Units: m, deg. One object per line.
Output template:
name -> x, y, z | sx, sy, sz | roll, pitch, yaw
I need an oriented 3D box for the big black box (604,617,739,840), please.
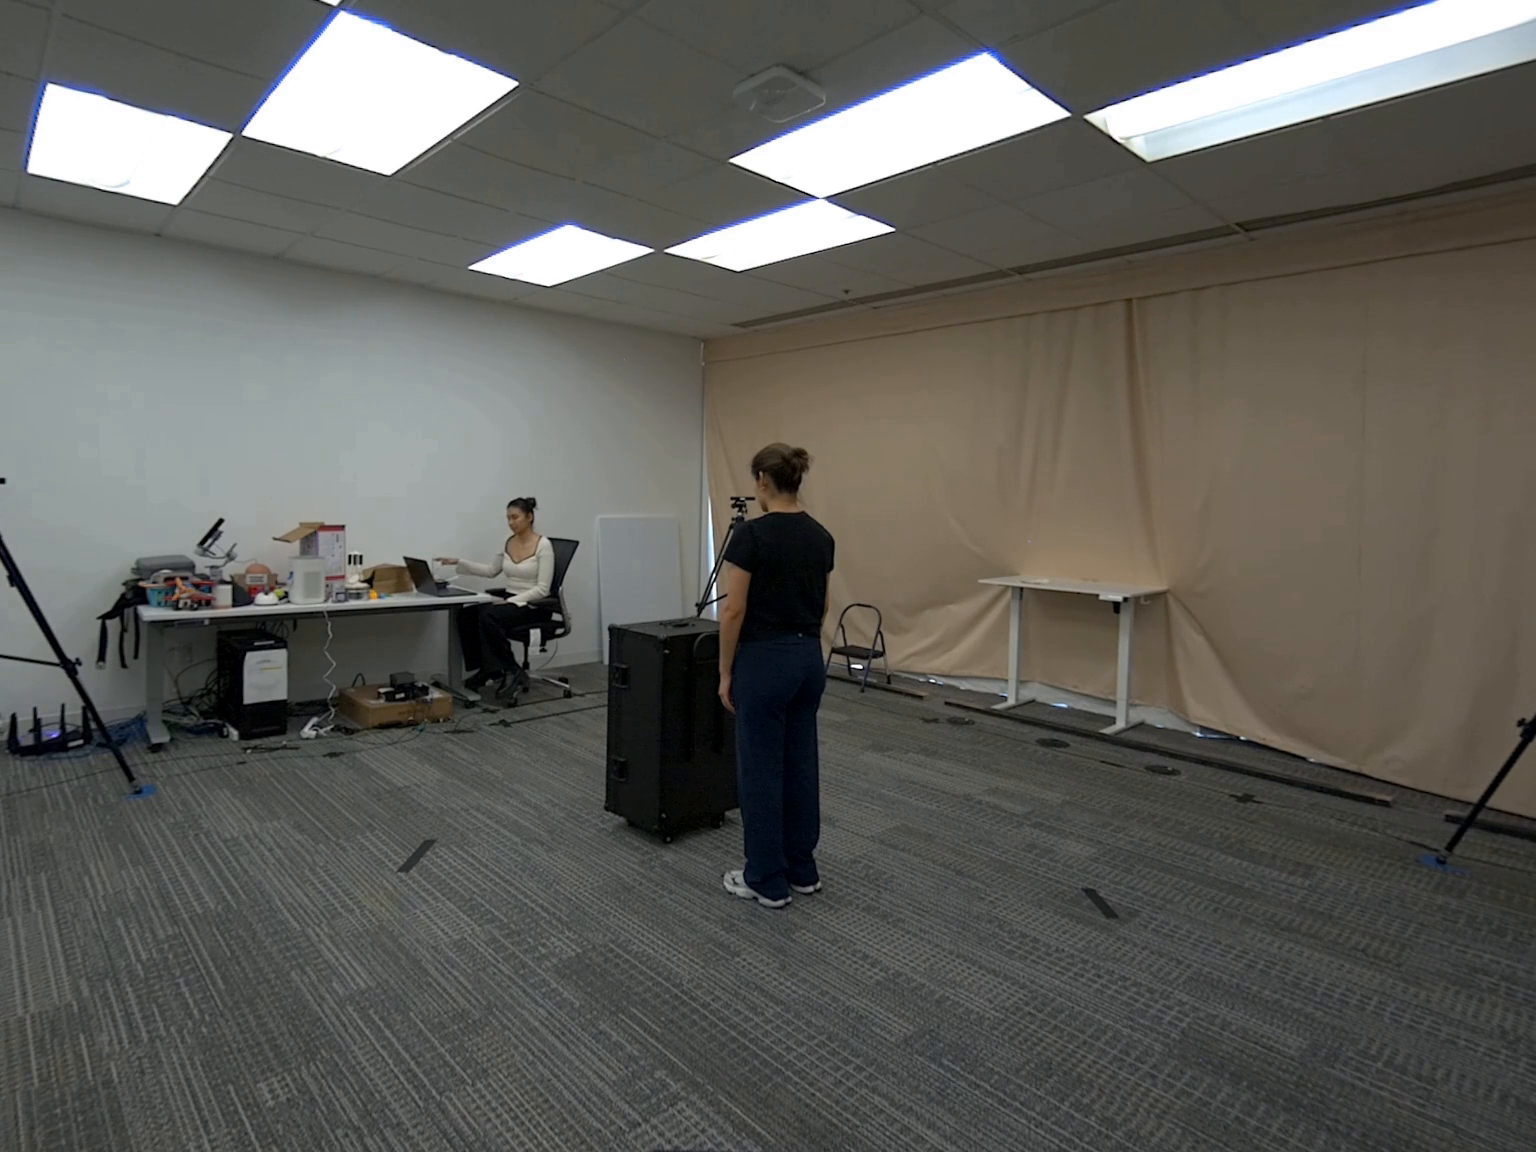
big black box -> -0.379, 0.635, 3.550 | 0.406, 0.859, 0.509 | 6, 5, 44
